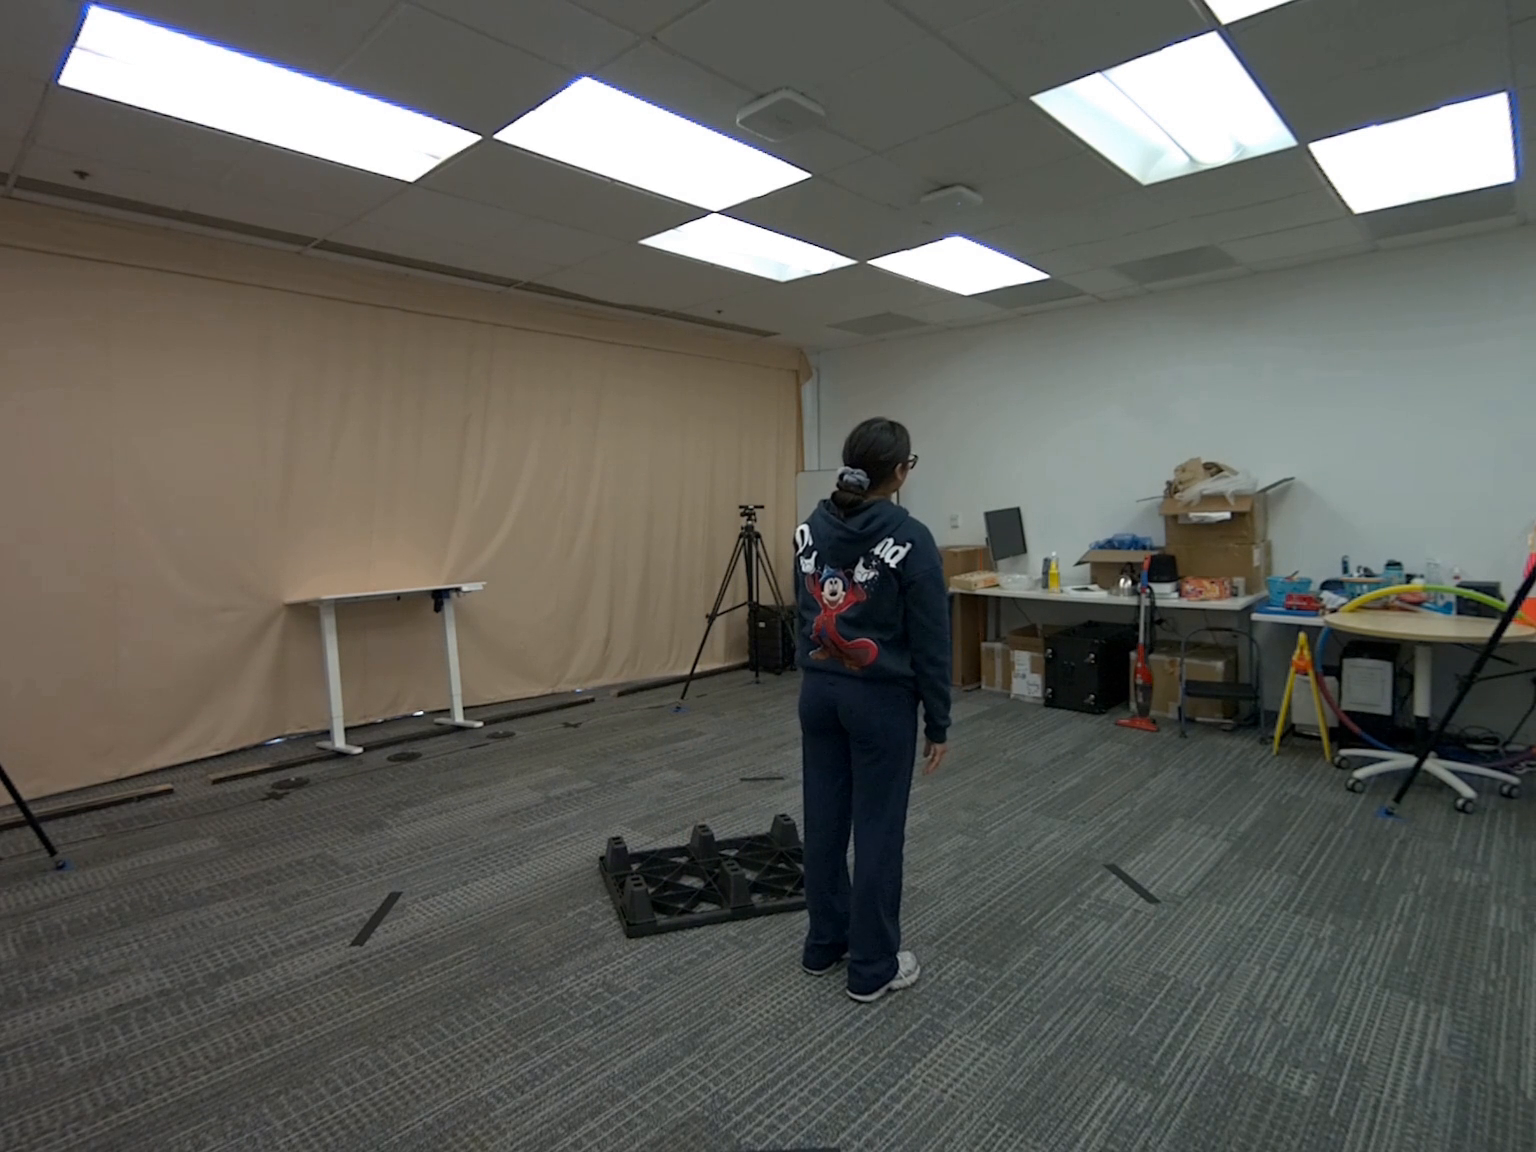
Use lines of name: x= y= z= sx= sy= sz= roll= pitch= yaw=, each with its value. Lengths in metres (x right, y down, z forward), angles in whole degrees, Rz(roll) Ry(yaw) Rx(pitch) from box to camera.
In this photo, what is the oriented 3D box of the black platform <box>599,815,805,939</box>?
black platform: x=-0.186 y=1.063 z=3.105 sx=0.791 sy=0.143 sz=0.618 roll=-3 pitch=5 yaw=-19
